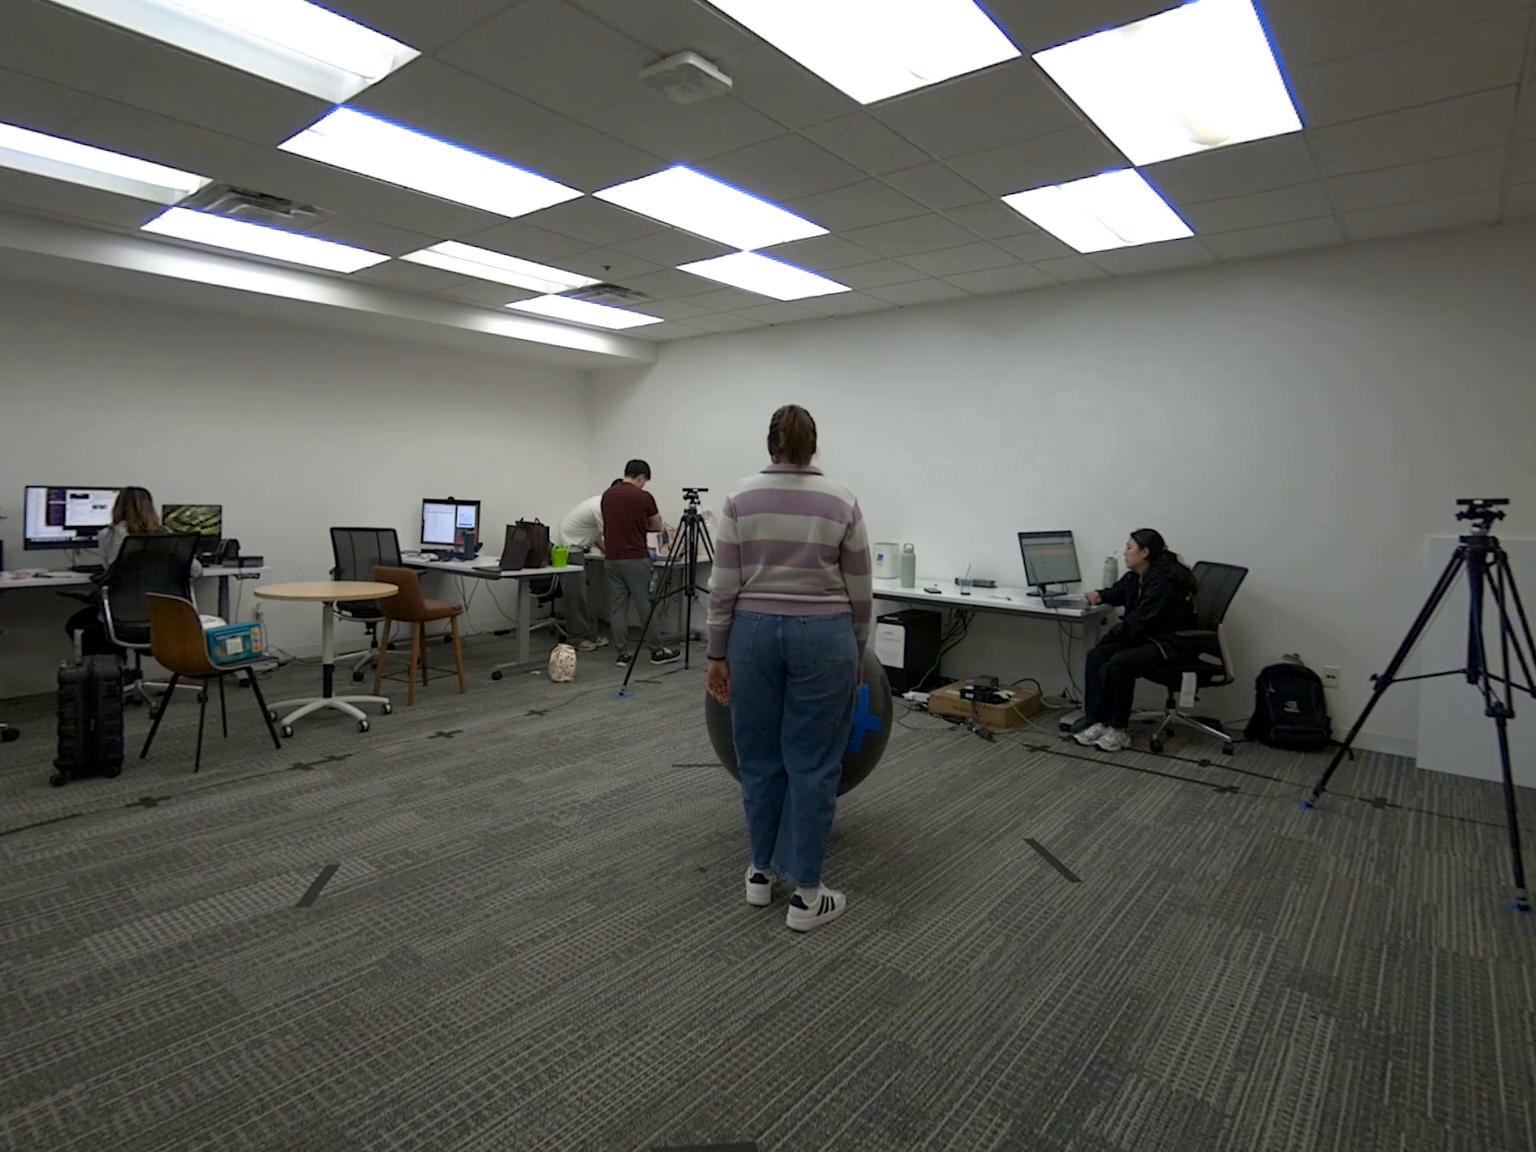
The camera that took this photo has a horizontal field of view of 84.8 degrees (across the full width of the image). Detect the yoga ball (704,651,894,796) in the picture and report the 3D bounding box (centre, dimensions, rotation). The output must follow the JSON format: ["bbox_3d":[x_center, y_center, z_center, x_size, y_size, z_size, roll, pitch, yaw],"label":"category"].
[{"bbox_3d":[0.131,0.534,3.455,0.757,0.756,0.761,1,4,-2],"label":"yoga ball"}]
